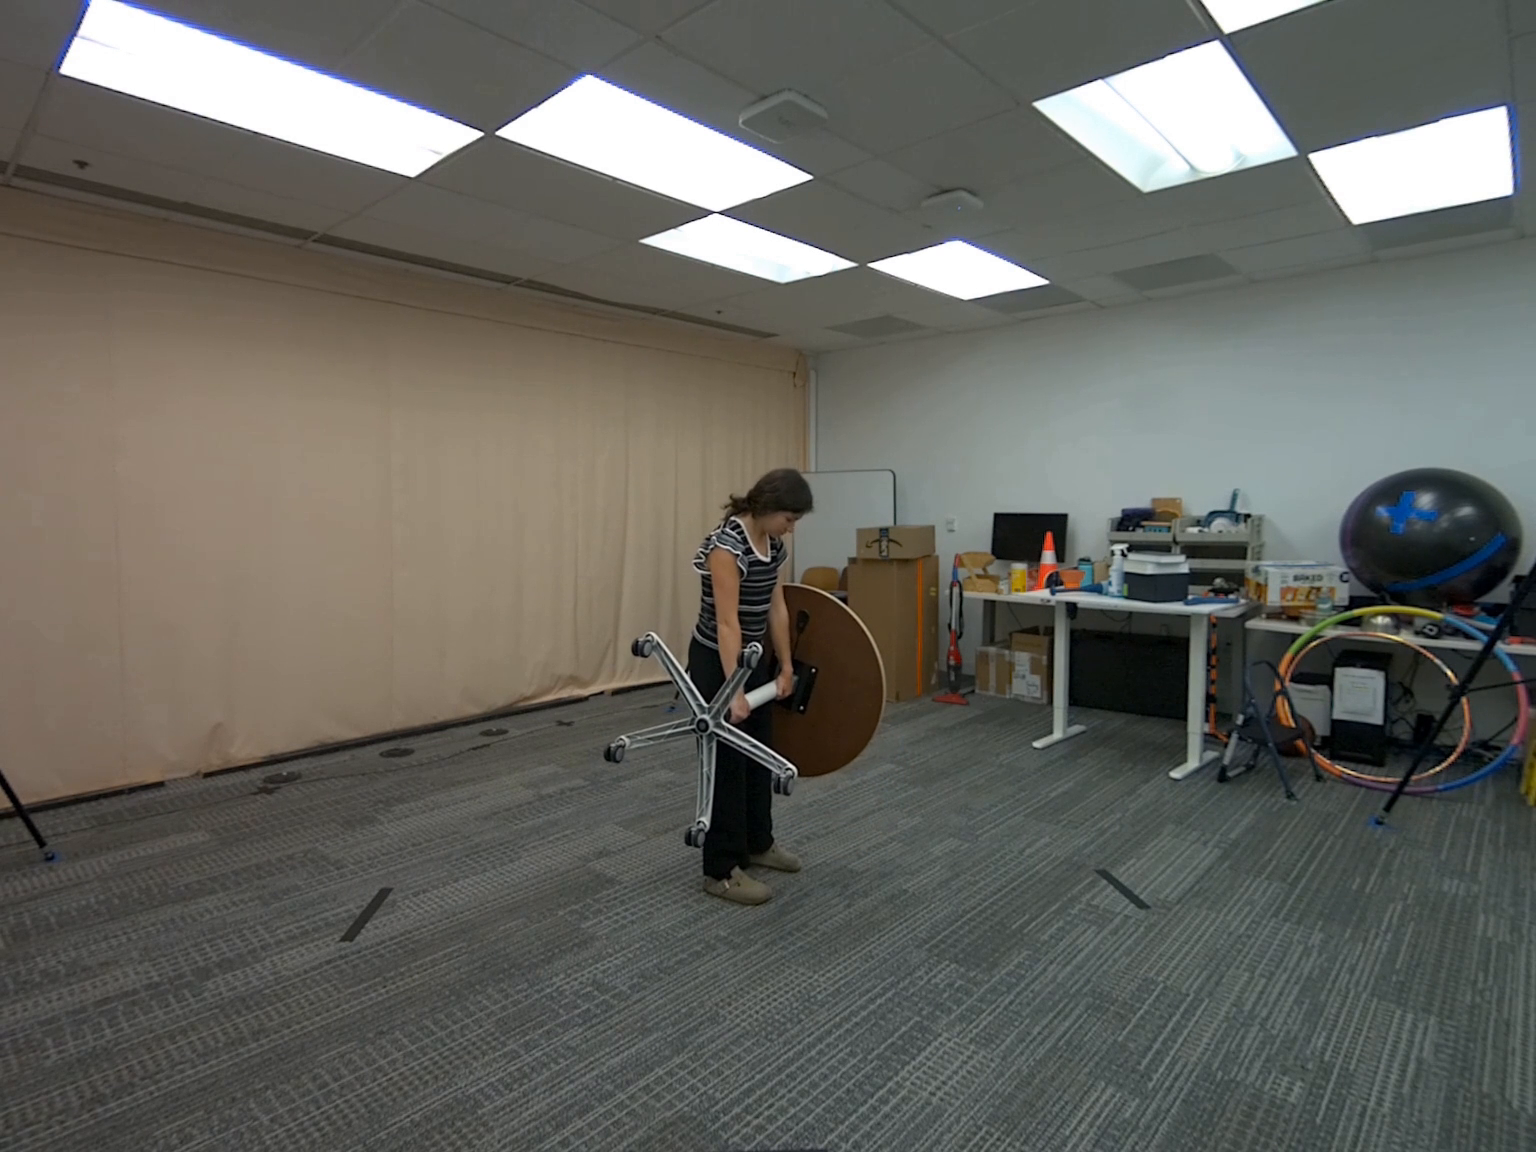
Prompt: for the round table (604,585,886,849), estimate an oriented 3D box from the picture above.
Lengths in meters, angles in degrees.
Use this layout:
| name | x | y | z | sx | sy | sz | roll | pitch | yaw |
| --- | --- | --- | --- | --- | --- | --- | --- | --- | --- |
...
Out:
| name | x | y | z | sx | sy | sz | roll | pitch | yaw |
| --- | --- | --- | --- | --- | --- | --- | --- | --- | --- |
| round table | -0.071 | 0.461 | 2.986 | 0.785 | 0.761 | 0.775 | 2 | 6 | 28 |
